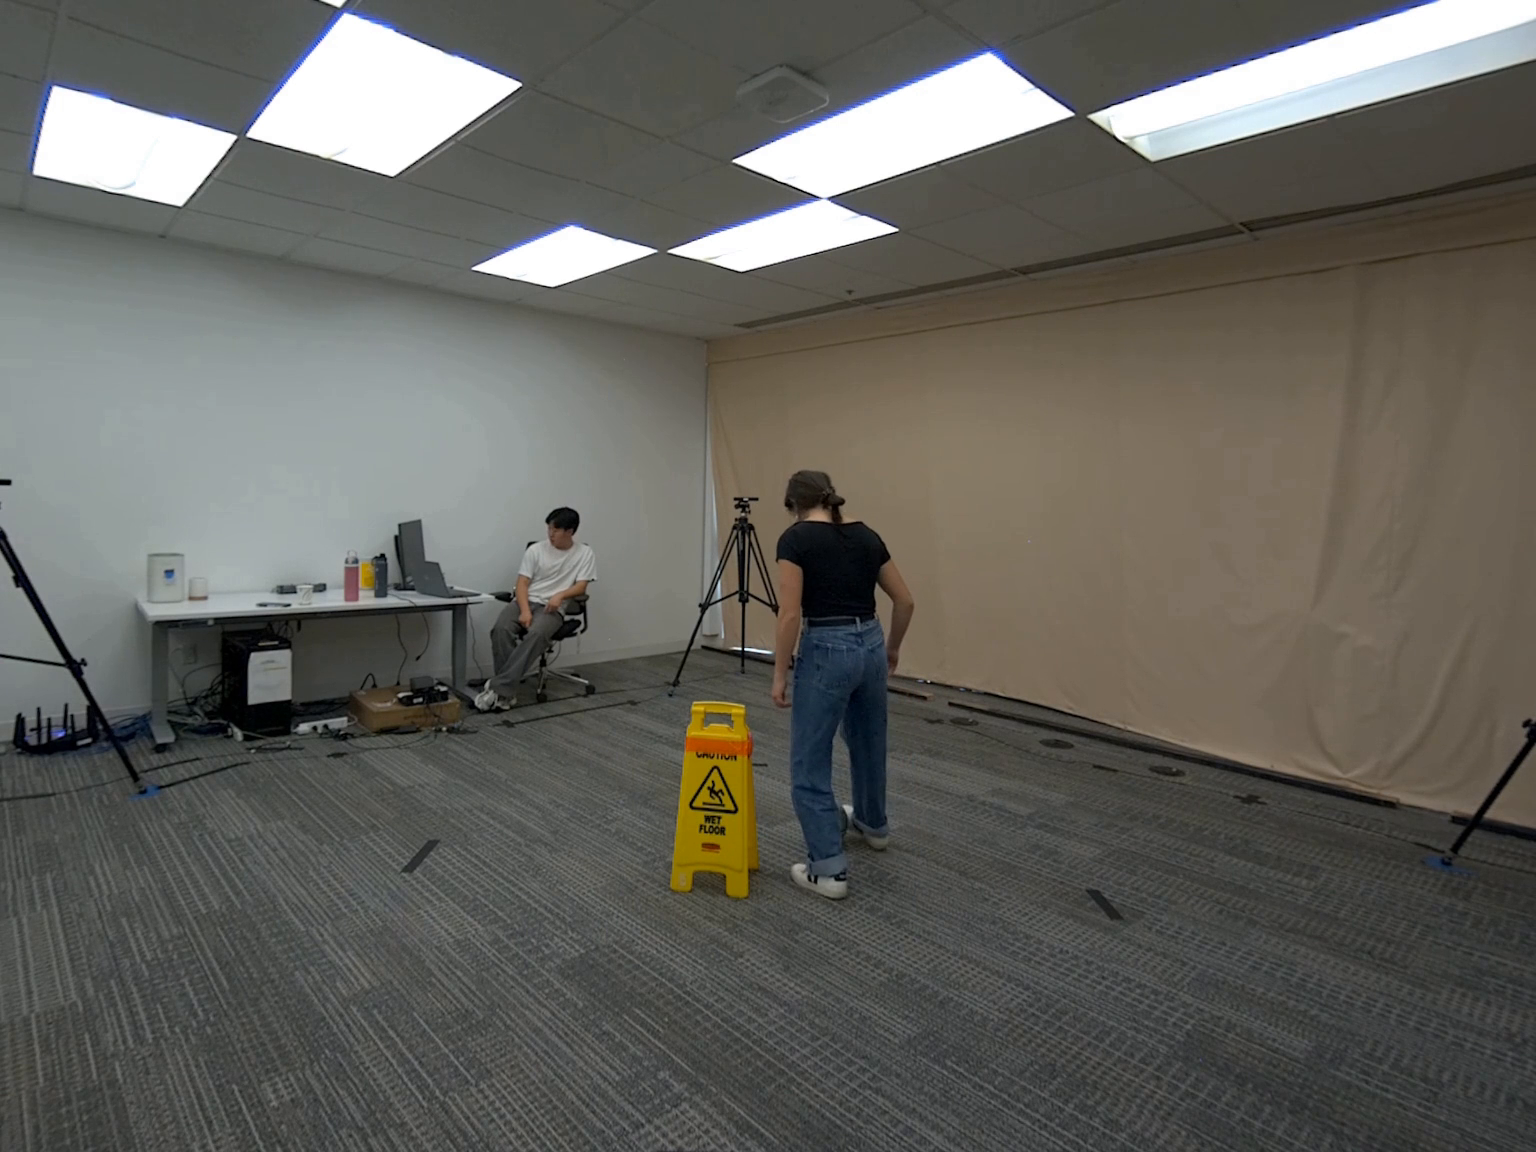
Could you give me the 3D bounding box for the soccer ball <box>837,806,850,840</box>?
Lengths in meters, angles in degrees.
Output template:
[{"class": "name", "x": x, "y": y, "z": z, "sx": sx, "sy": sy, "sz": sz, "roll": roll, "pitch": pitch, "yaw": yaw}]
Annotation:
[{"class": "soccer ball", "x": 0.219, "y": 0.996, "z": 3.402, "sx": 0.187, "sy": 0.187, "sz": 0.188, "roll": 1, "pitch": 4, "yaw": -1}]
